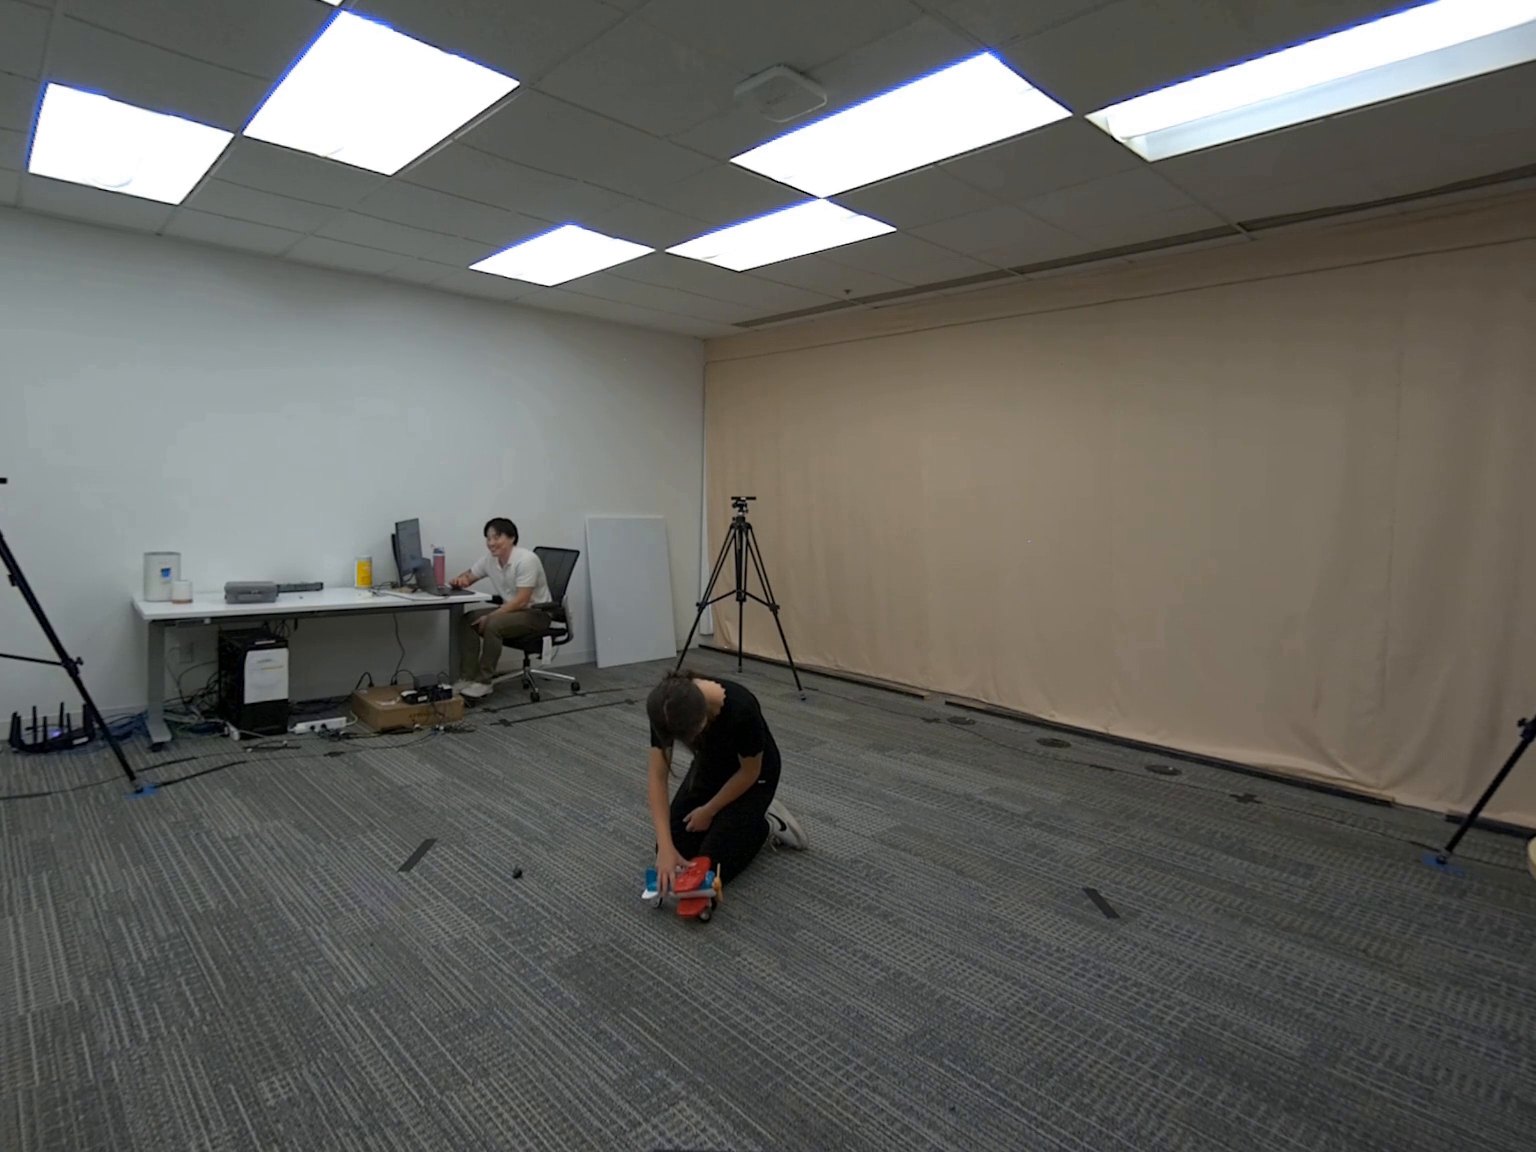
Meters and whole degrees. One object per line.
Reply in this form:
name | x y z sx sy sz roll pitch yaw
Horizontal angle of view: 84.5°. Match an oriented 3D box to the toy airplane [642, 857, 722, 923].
toy airplane | -0.300 1.057 2.792 0.255 0.156 0.255 3 4 -18
